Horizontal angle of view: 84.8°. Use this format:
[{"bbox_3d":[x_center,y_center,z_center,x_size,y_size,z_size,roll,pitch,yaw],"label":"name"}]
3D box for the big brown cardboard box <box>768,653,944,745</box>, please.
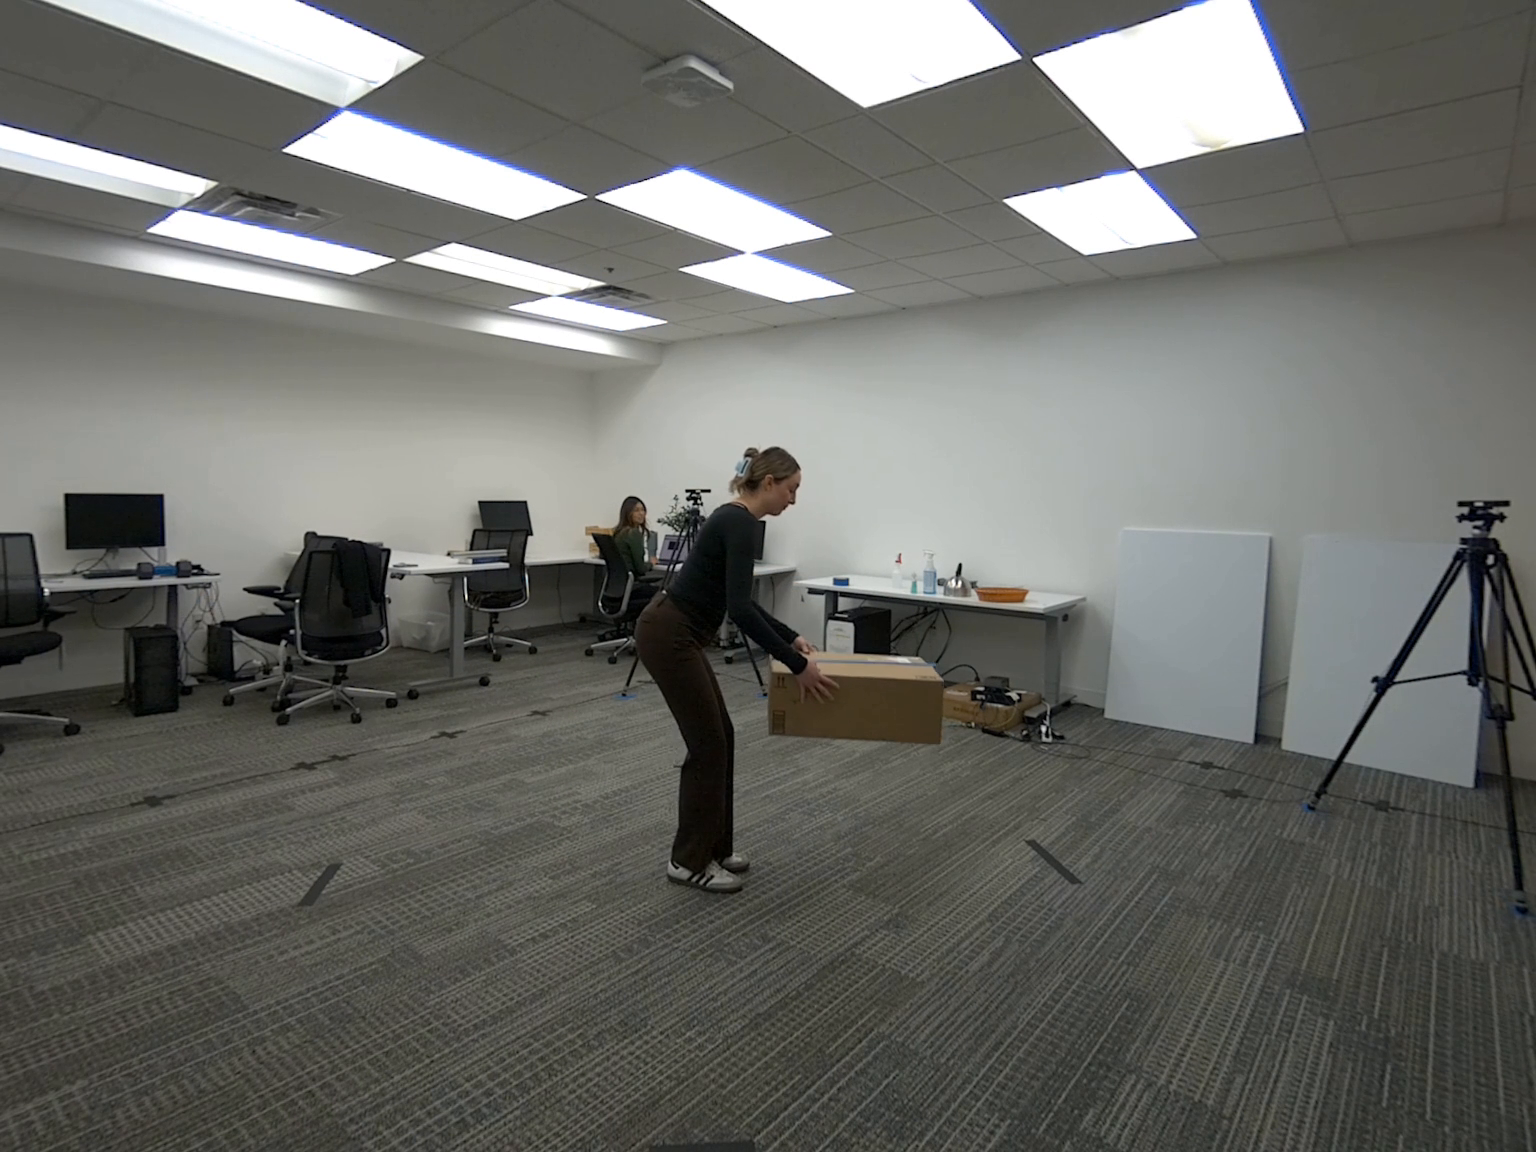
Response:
[{"bbox_3d":[0.279,0.416,2.985,0.590,0.232,0.418,2,5,1],"label":"big brown cardboard box"}]
